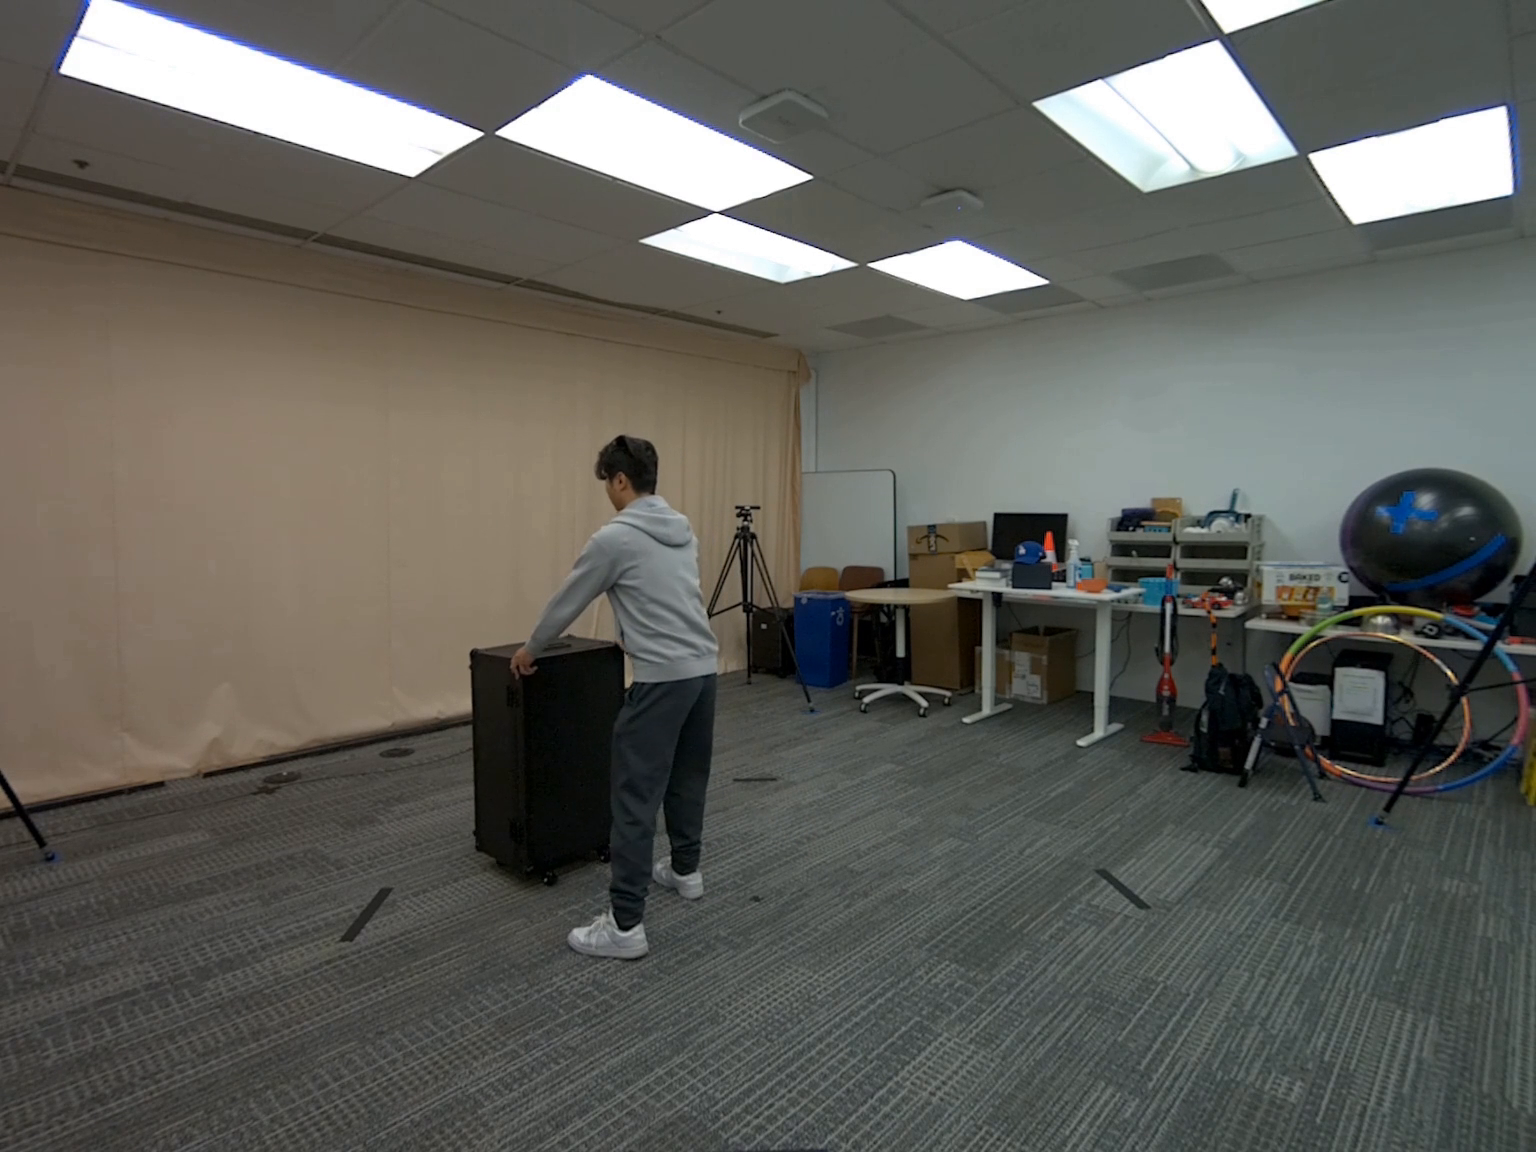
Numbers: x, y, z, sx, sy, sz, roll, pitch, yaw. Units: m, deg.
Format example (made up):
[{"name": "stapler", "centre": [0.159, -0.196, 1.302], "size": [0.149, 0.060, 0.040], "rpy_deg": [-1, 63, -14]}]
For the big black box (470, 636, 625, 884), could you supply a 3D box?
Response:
[{"name": "big black box", "centre": [-0.860, 0.701, 3.306], "size": [0.409, 0.860, 0.505], "rpy_deg": [1, 3, 41]}]
